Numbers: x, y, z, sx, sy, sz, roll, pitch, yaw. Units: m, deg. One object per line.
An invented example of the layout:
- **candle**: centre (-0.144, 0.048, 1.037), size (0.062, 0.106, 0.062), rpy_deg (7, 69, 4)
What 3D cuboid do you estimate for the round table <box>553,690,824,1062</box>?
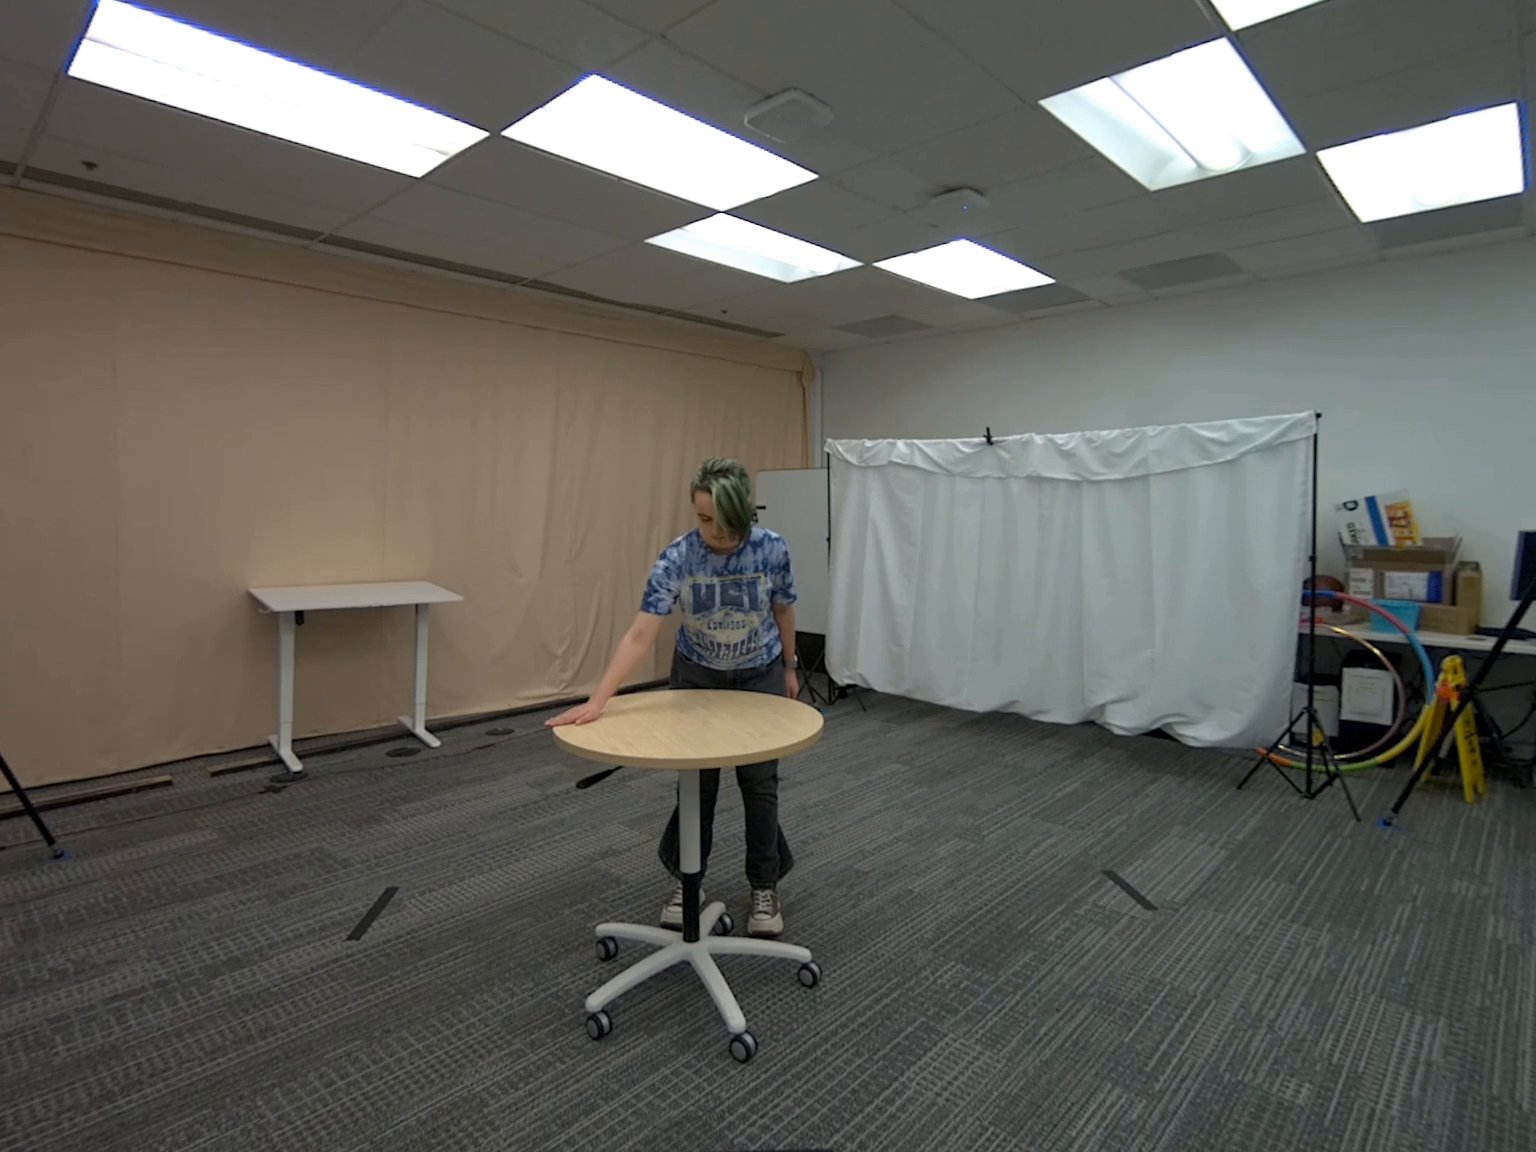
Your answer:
- **round table**: centre (-0.229, 0.796, 2.434), size (0.784, 0.785, 0.788), rpy_deg (0, 4, -2)
